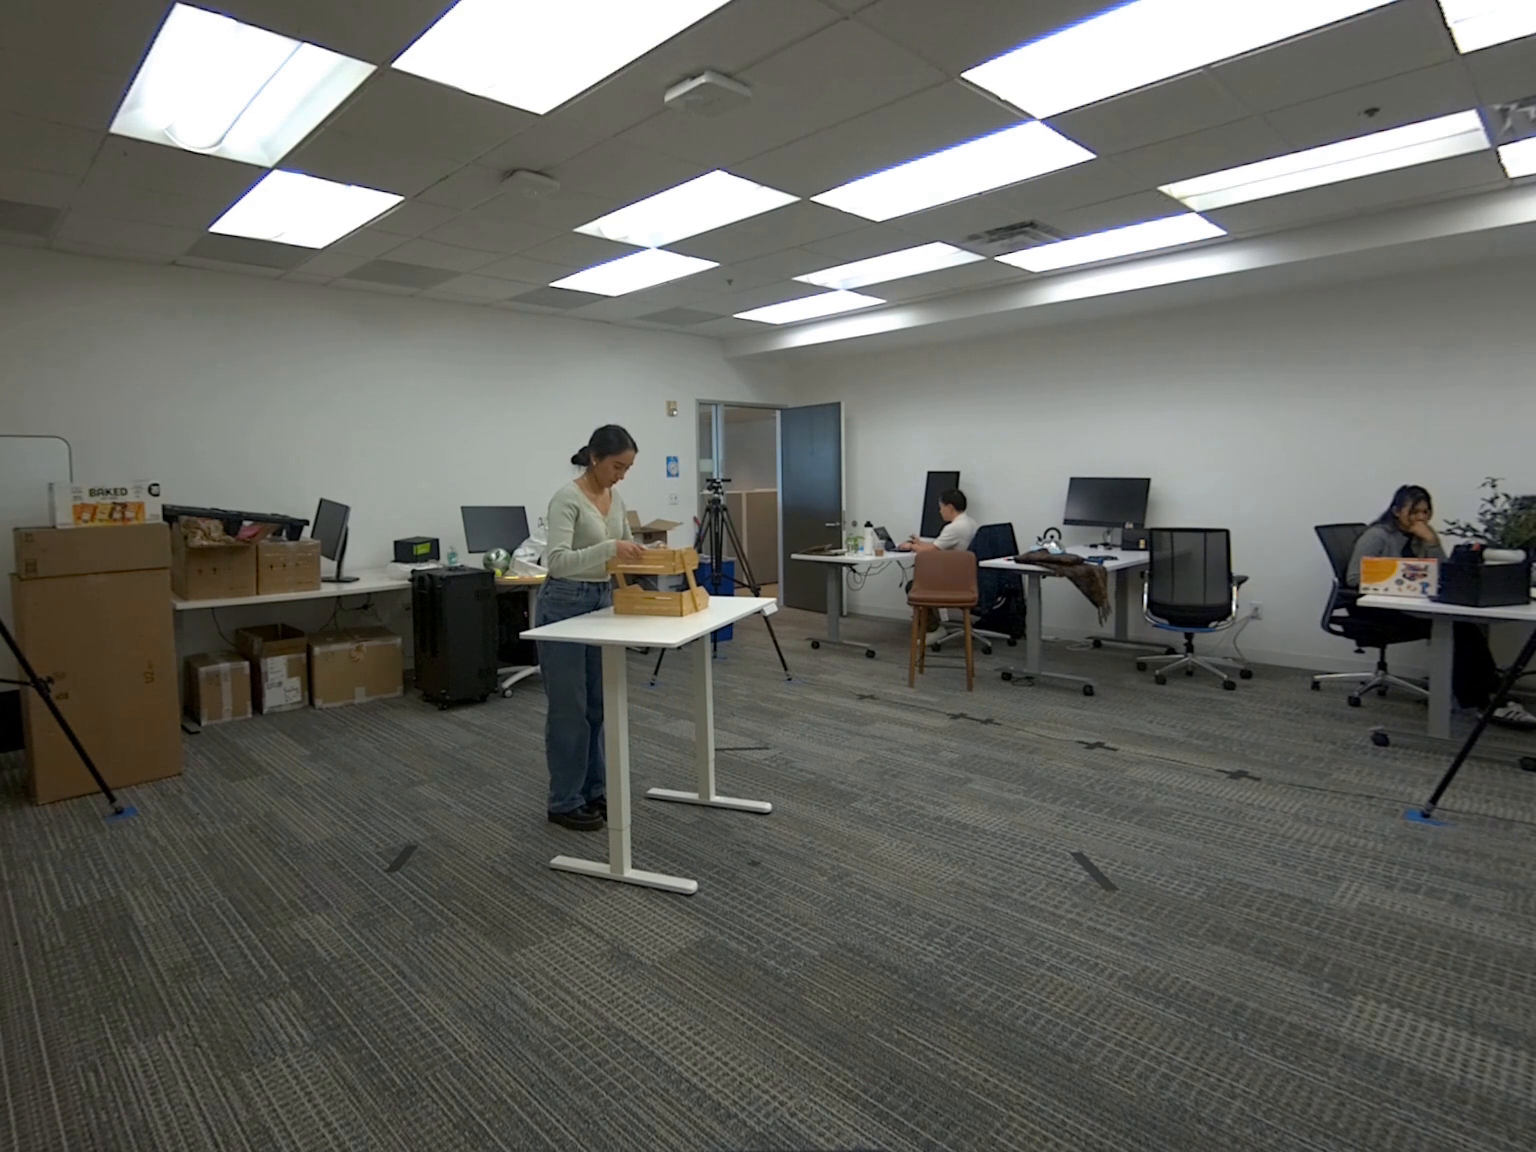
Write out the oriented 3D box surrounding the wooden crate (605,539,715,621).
[{"bbox_3d":[-0.422,0.005,3.355,0.331,0.272,0.297,1,6,21],"label":"wooden crate"}]
